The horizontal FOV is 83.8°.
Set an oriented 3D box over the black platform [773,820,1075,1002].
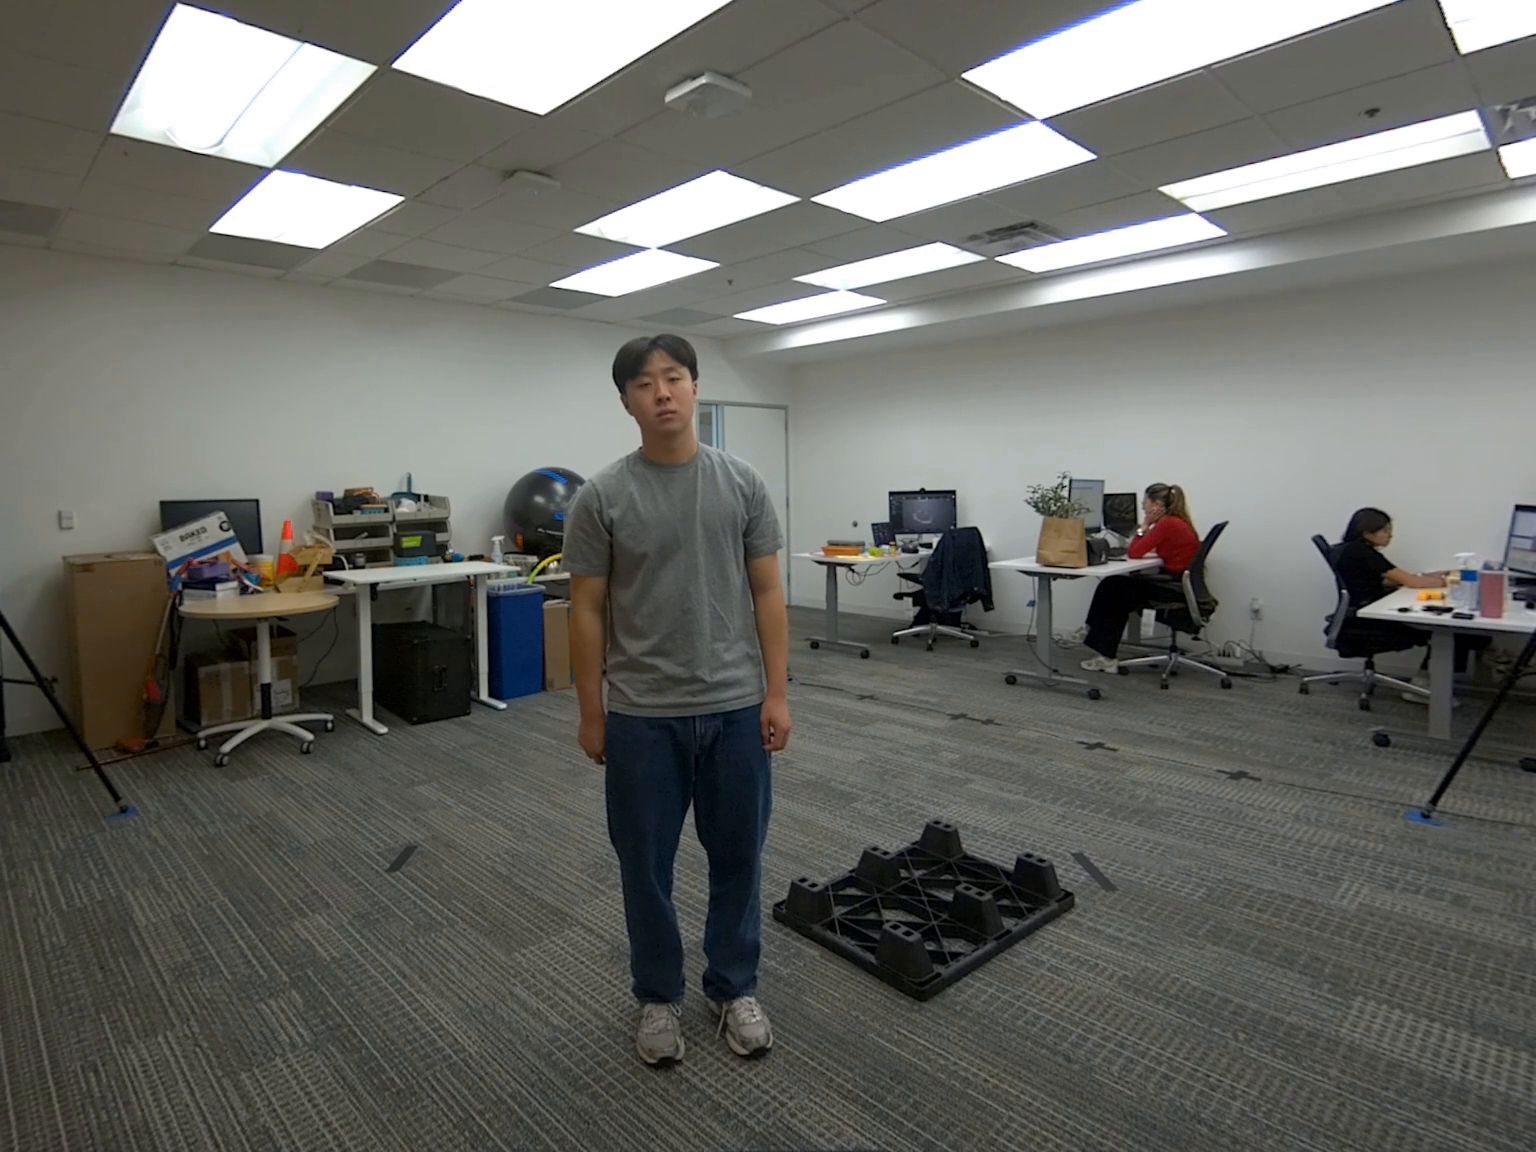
[{"bbox_3d":[0.506,1.012,2.742,0.784,0.142,0.624,-6,9,-40],"label":"black platform"}]
